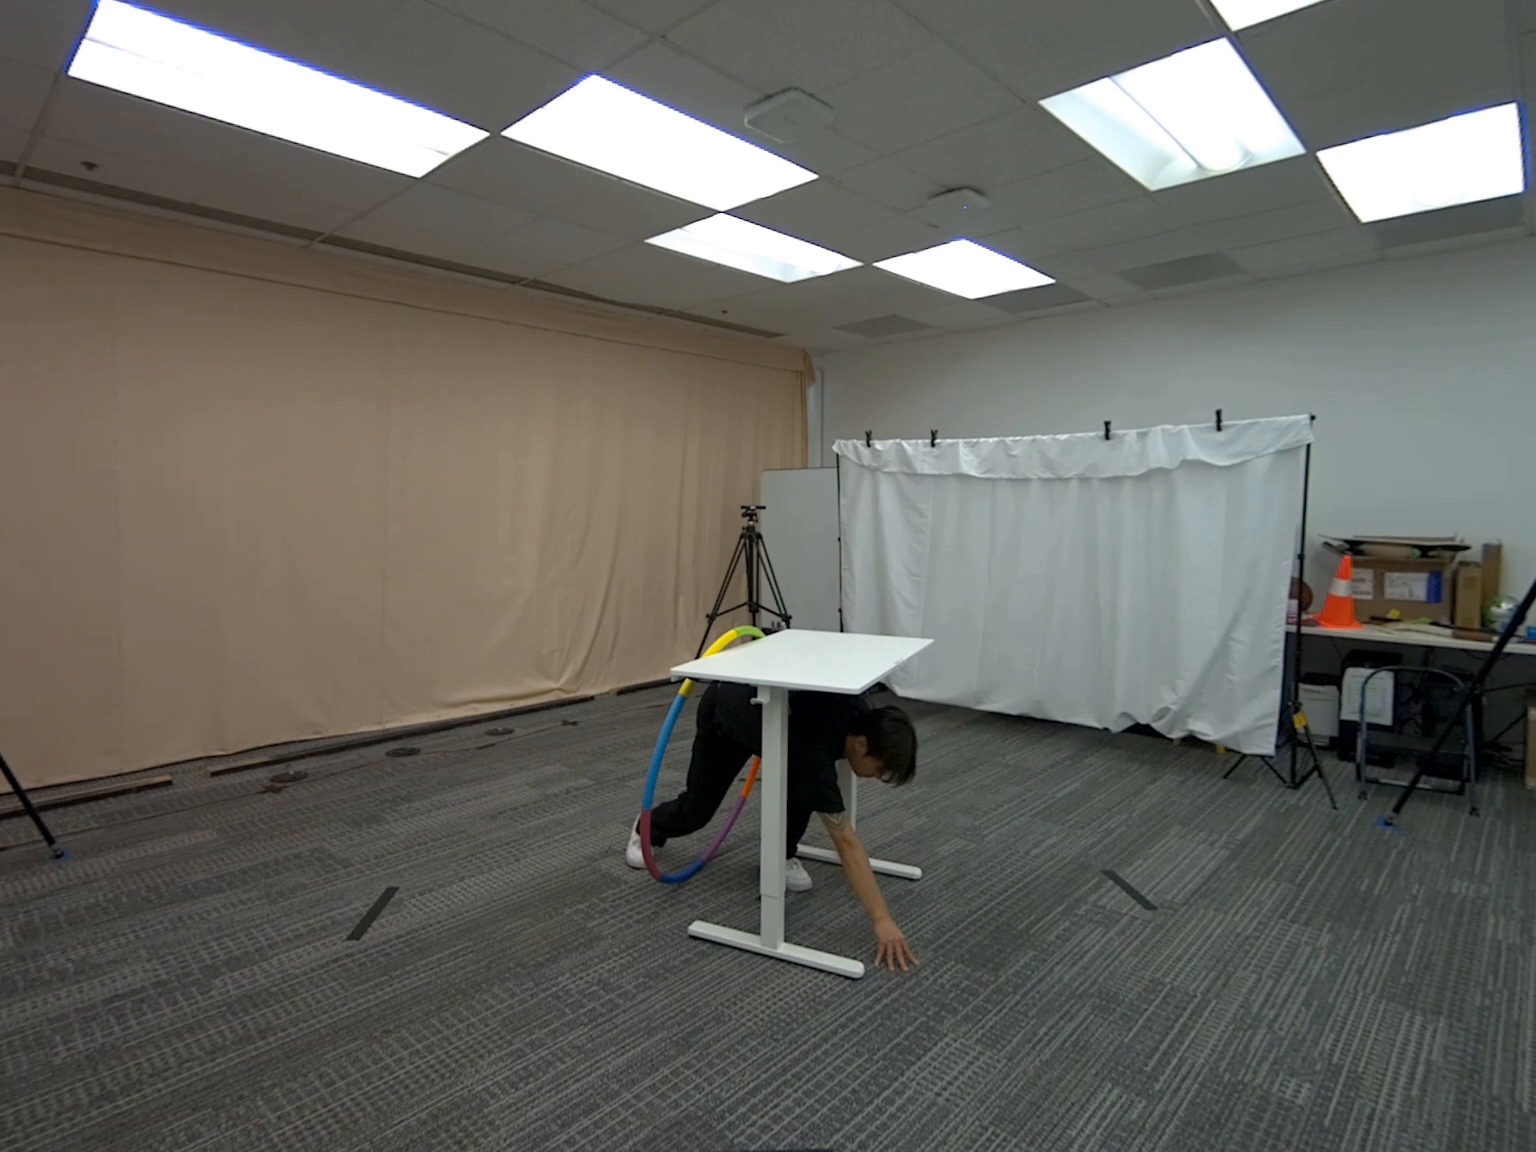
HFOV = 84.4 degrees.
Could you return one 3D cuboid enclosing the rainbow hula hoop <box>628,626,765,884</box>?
[{"bbox_3d":[-0.190,0.659,3.133,0.036,0.975,0.956,15,9,22],"label":"rainbow hula hoop"}]
